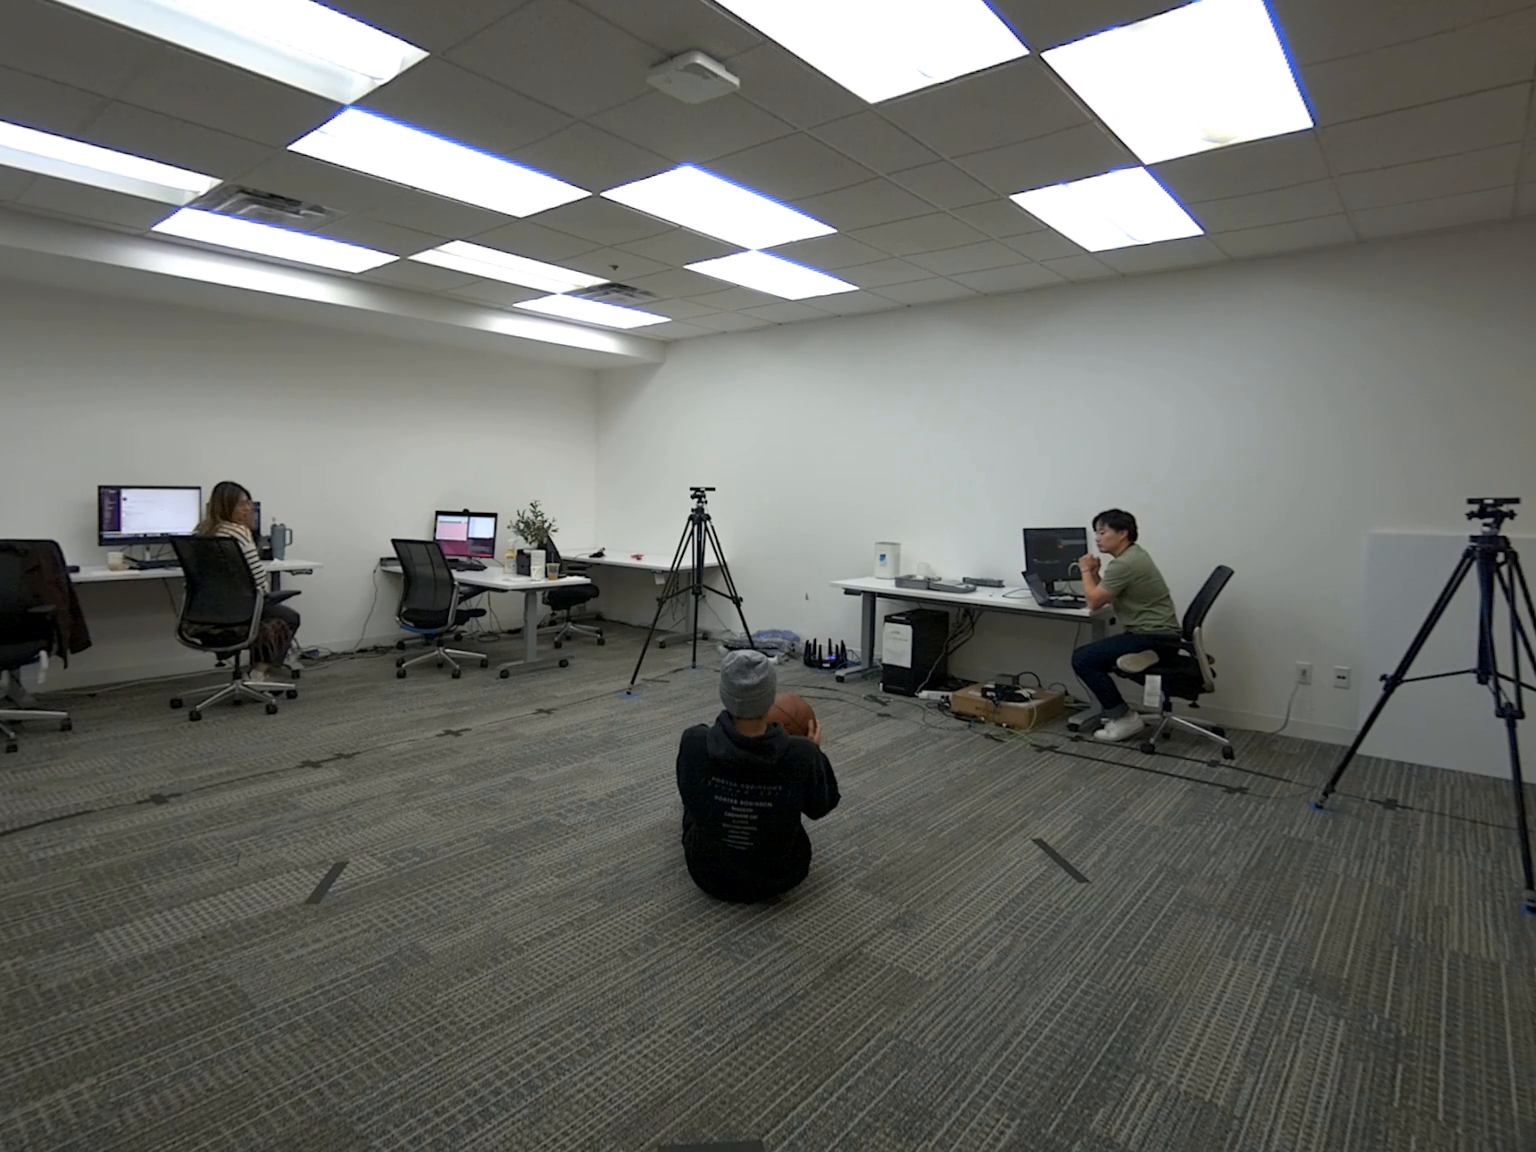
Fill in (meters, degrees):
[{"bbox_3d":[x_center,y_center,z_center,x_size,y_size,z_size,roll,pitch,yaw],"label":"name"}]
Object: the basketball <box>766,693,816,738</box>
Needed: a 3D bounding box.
[{"bbox_3d":[0.060,0.566,3.244,0.235,0.235,0.237,1,4,-2],"label":"basketball"}]
